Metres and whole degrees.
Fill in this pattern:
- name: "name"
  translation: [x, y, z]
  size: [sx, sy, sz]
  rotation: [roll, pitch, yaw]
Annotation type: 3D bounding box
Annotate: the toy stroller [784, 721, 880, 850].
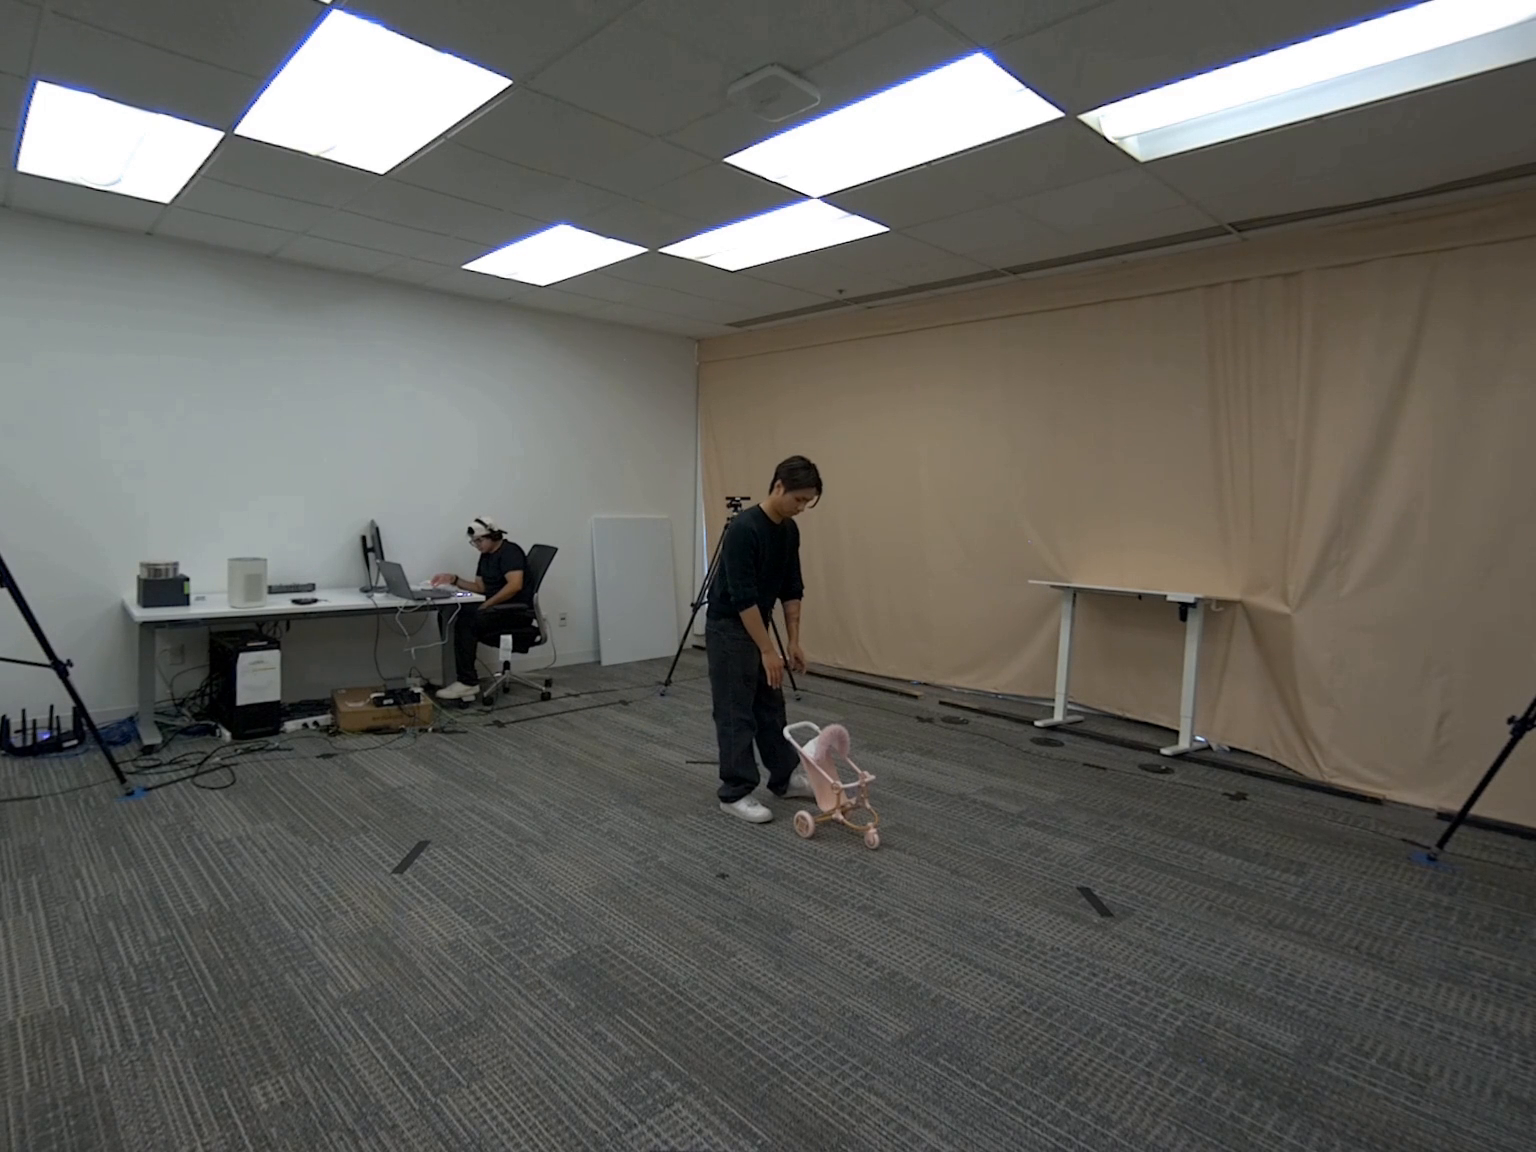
- name: "toy stroller"
  translation: [0.274, 0.861, 3.513]
  size: [0.275, 0.540, 0.346]
  rotation: [-2, -13, -41]
